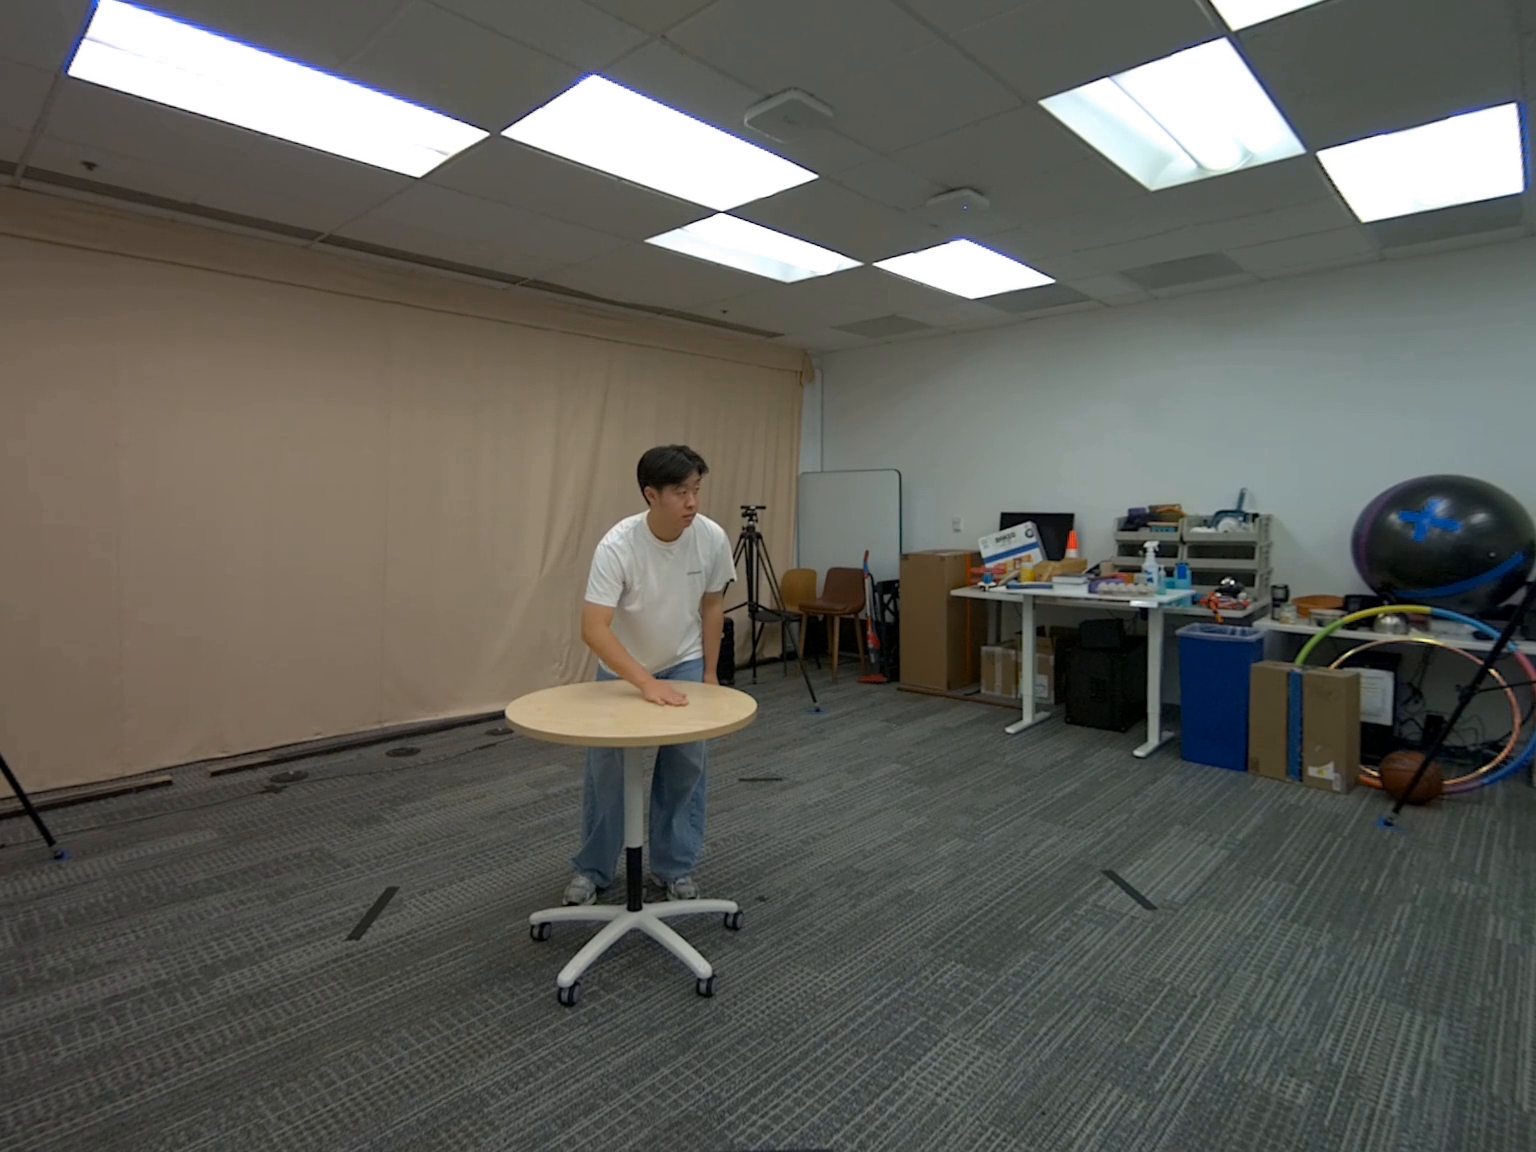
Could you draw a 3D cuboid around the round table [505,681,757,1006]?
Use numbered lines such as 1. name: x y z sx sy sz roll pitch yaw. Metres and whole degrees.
1. round table: -0.404 0.786 2.610 0.763 0.792 0.766 0 4 -2
